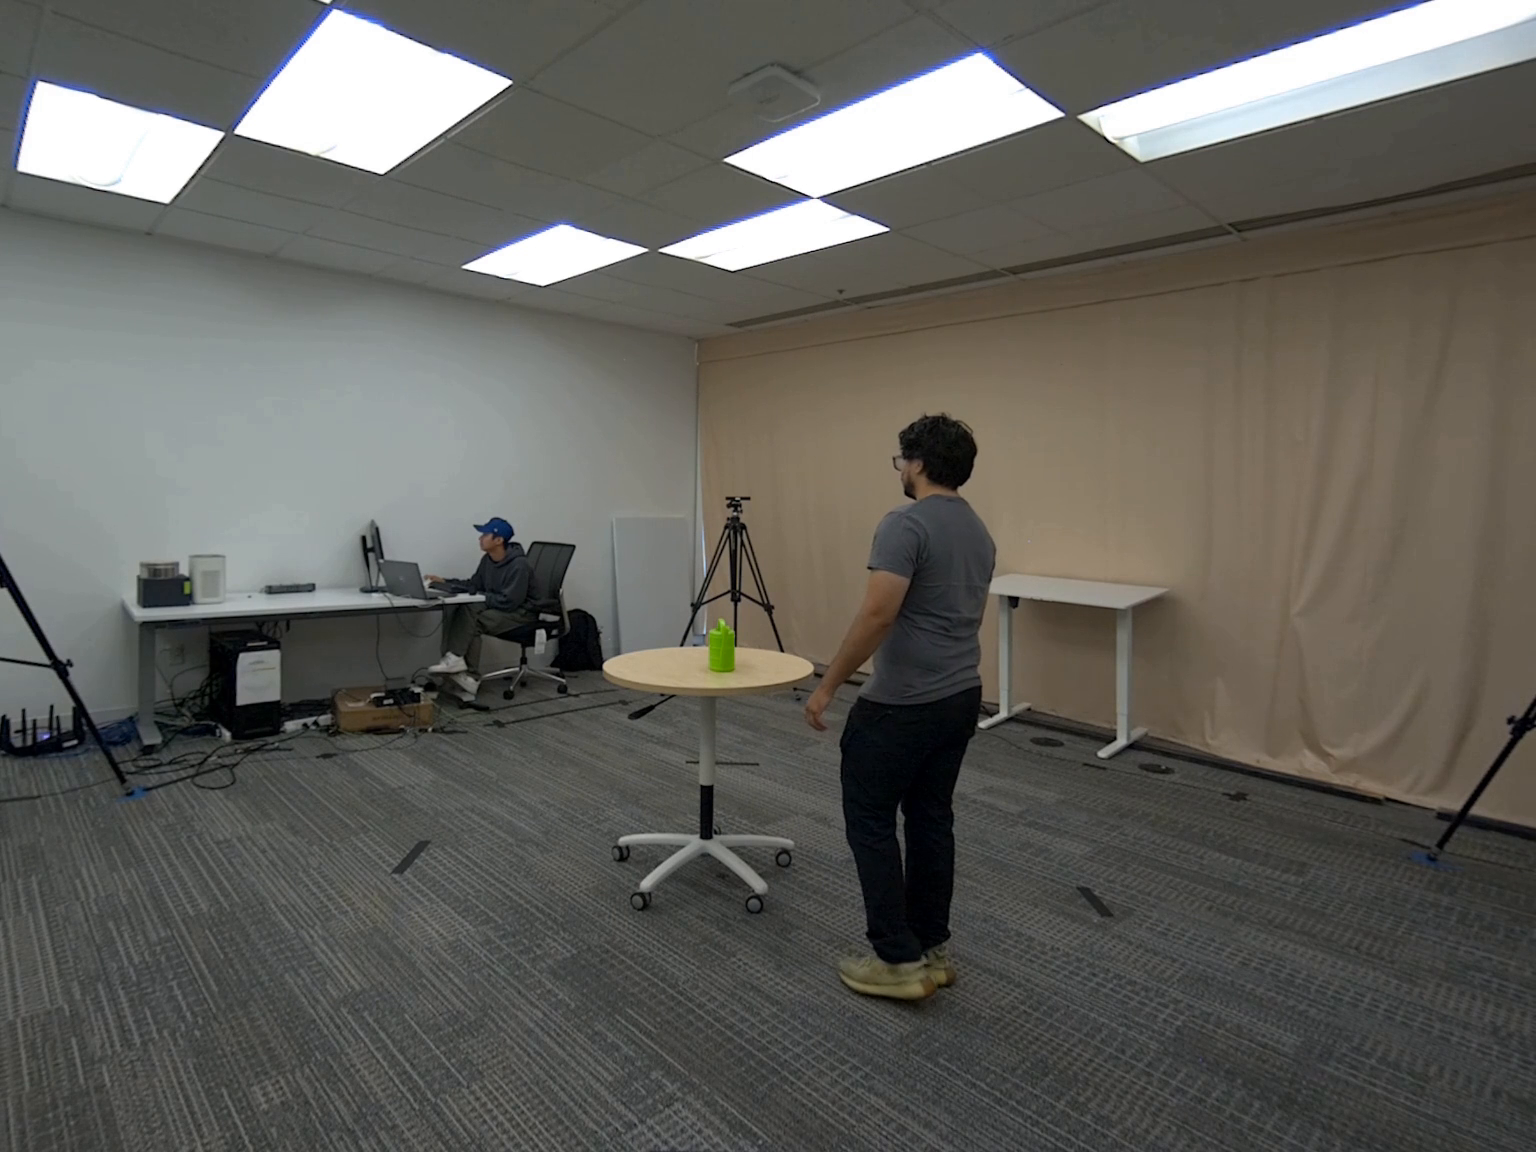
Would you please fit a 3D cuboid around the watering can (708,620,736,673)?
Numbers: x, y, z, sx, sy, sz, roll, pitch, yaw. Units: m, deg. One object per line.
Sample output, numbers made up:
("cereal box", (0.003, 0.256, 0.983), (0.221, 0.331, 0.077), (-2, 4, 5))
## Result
("watering can", (-0.174, 0.254, 2.952), (0.098, 0.176, 0.278), (0, 4, 1))
